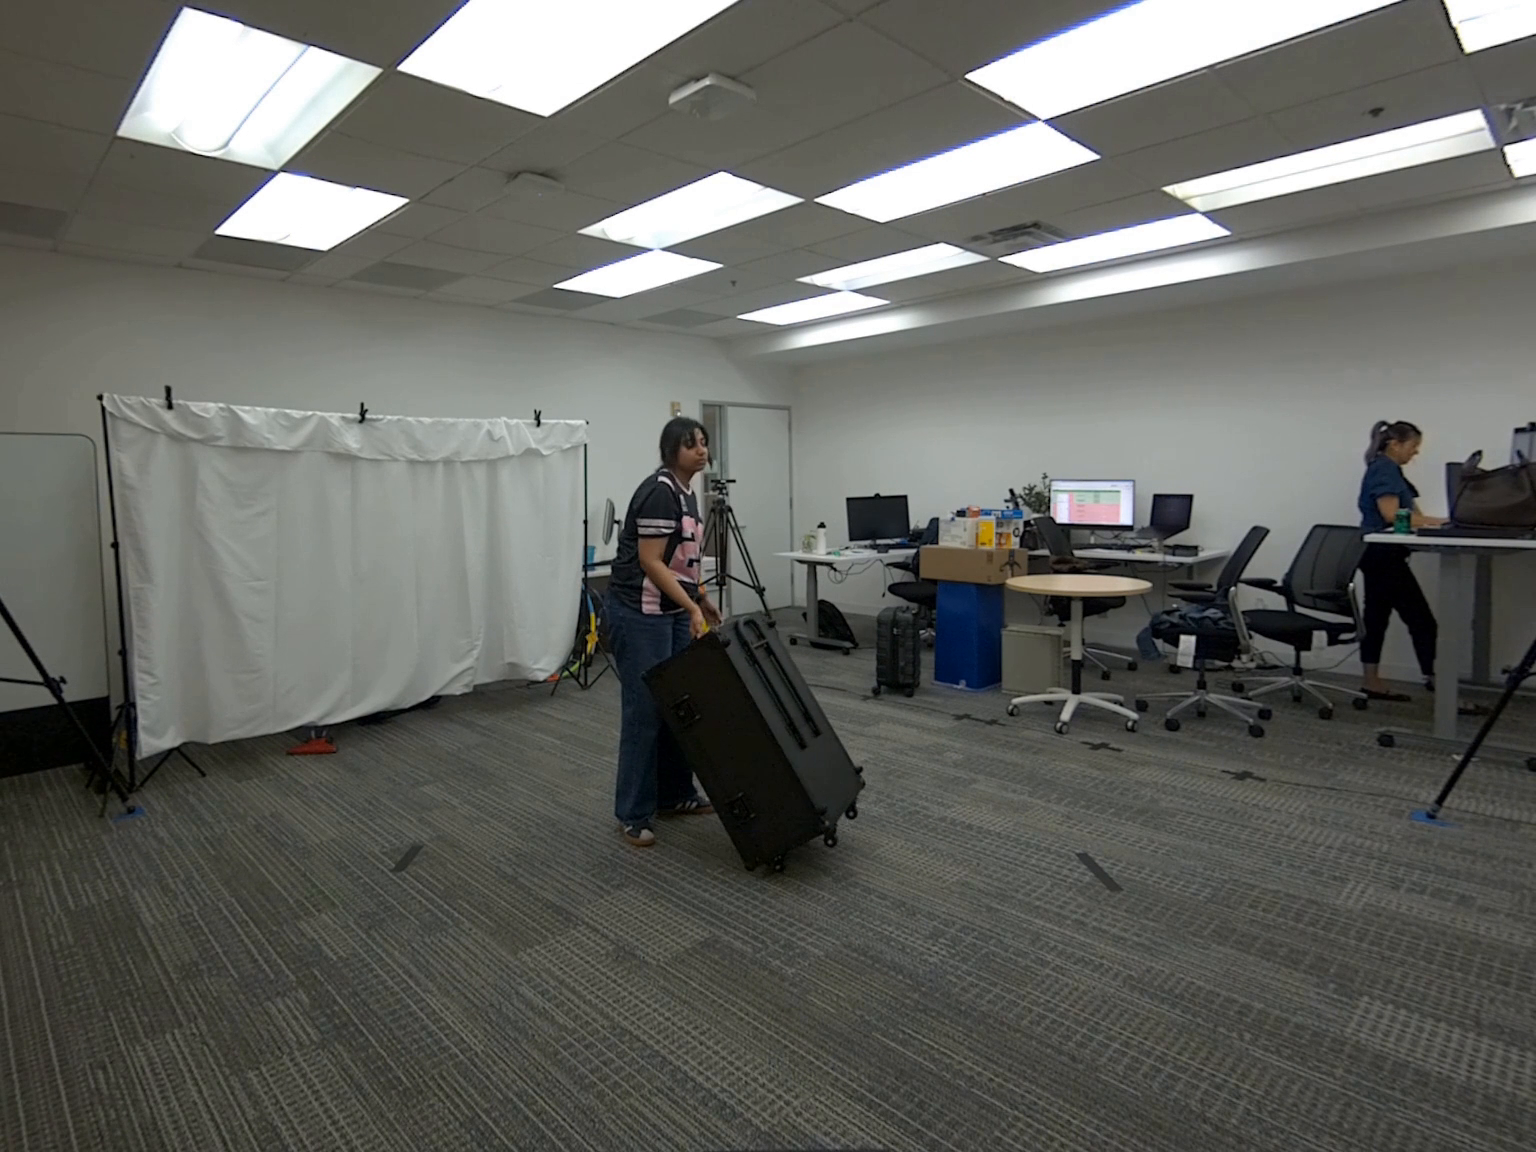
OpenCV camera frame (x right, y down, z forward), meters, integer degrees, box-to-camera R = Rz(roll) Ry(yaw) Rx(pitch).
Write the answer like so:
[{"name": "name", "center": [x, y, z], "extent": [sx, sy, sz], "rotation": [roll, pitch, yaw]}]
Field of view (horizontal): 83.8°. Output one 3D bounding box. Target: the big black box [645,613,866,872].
[{"name": "big black box", "center": [-0.006, 0.609, 3.186], "extent": [0.399, 0.871, 0.512], "rotation": [-33, -9, 21]}]
